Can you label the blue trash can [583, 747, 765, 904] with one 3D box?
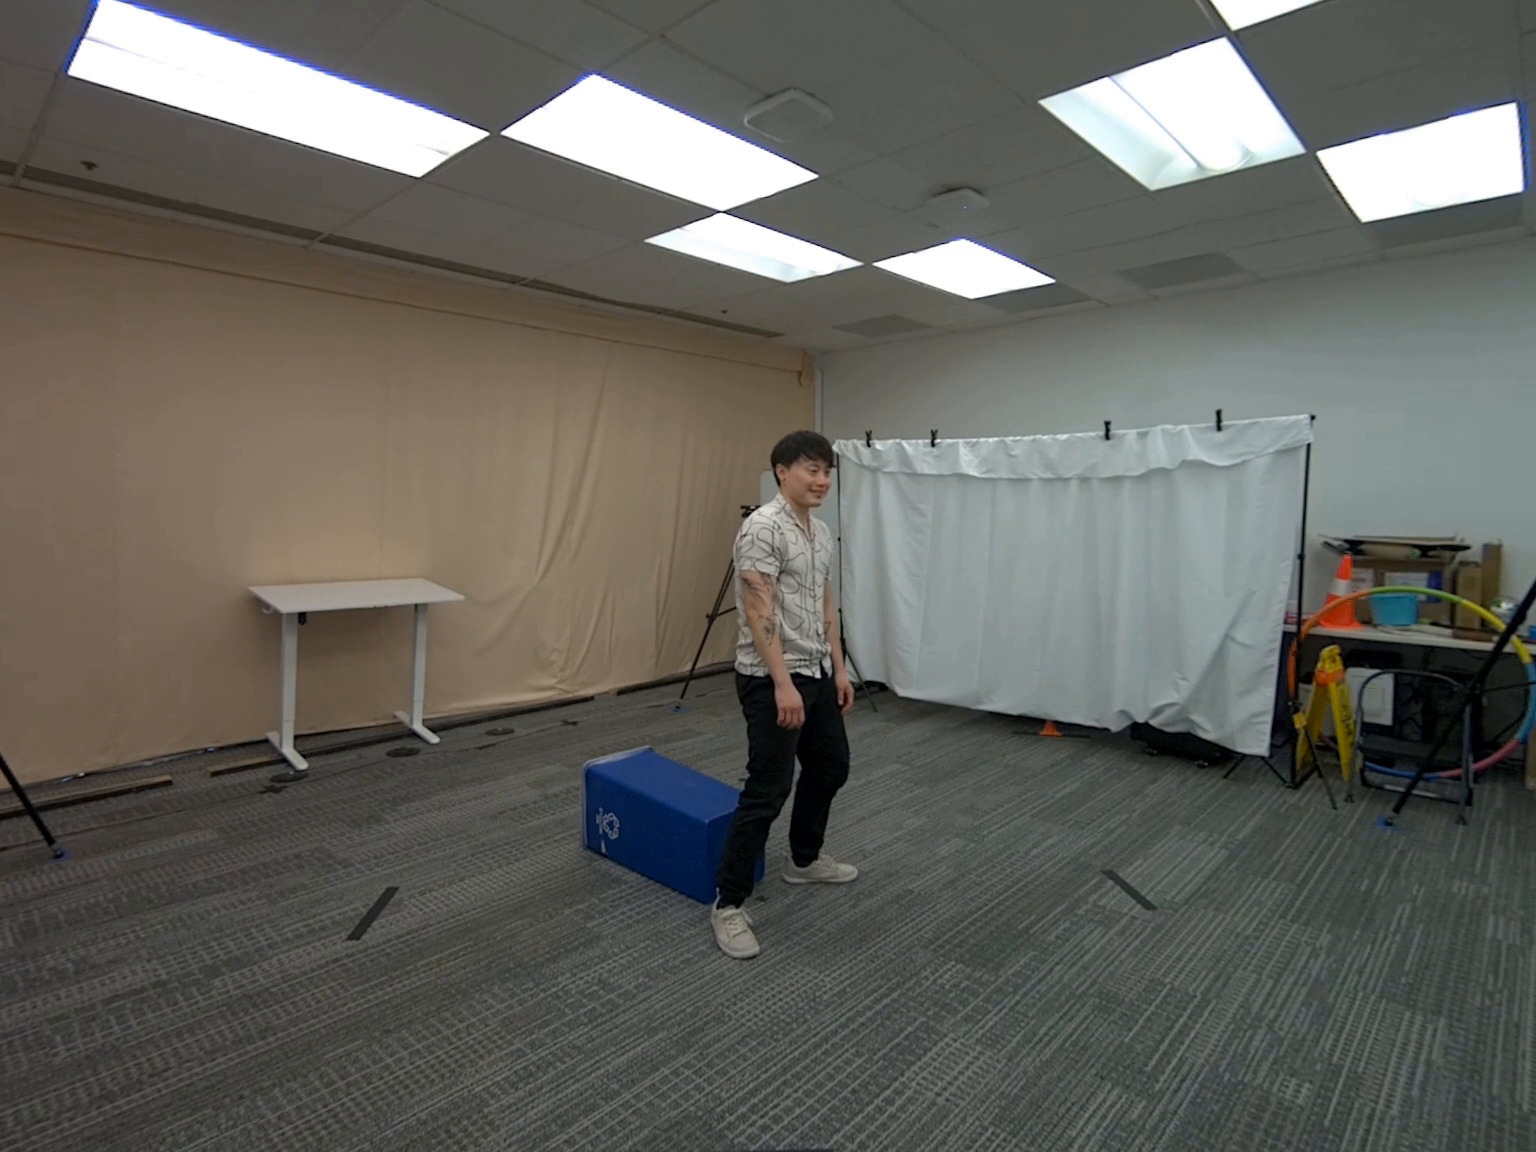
[{"bbox_3d":[-0.369,0.952,3.268,0.362,0.377,0.738,-4,7,-44],"label":"blue trash can"}]
